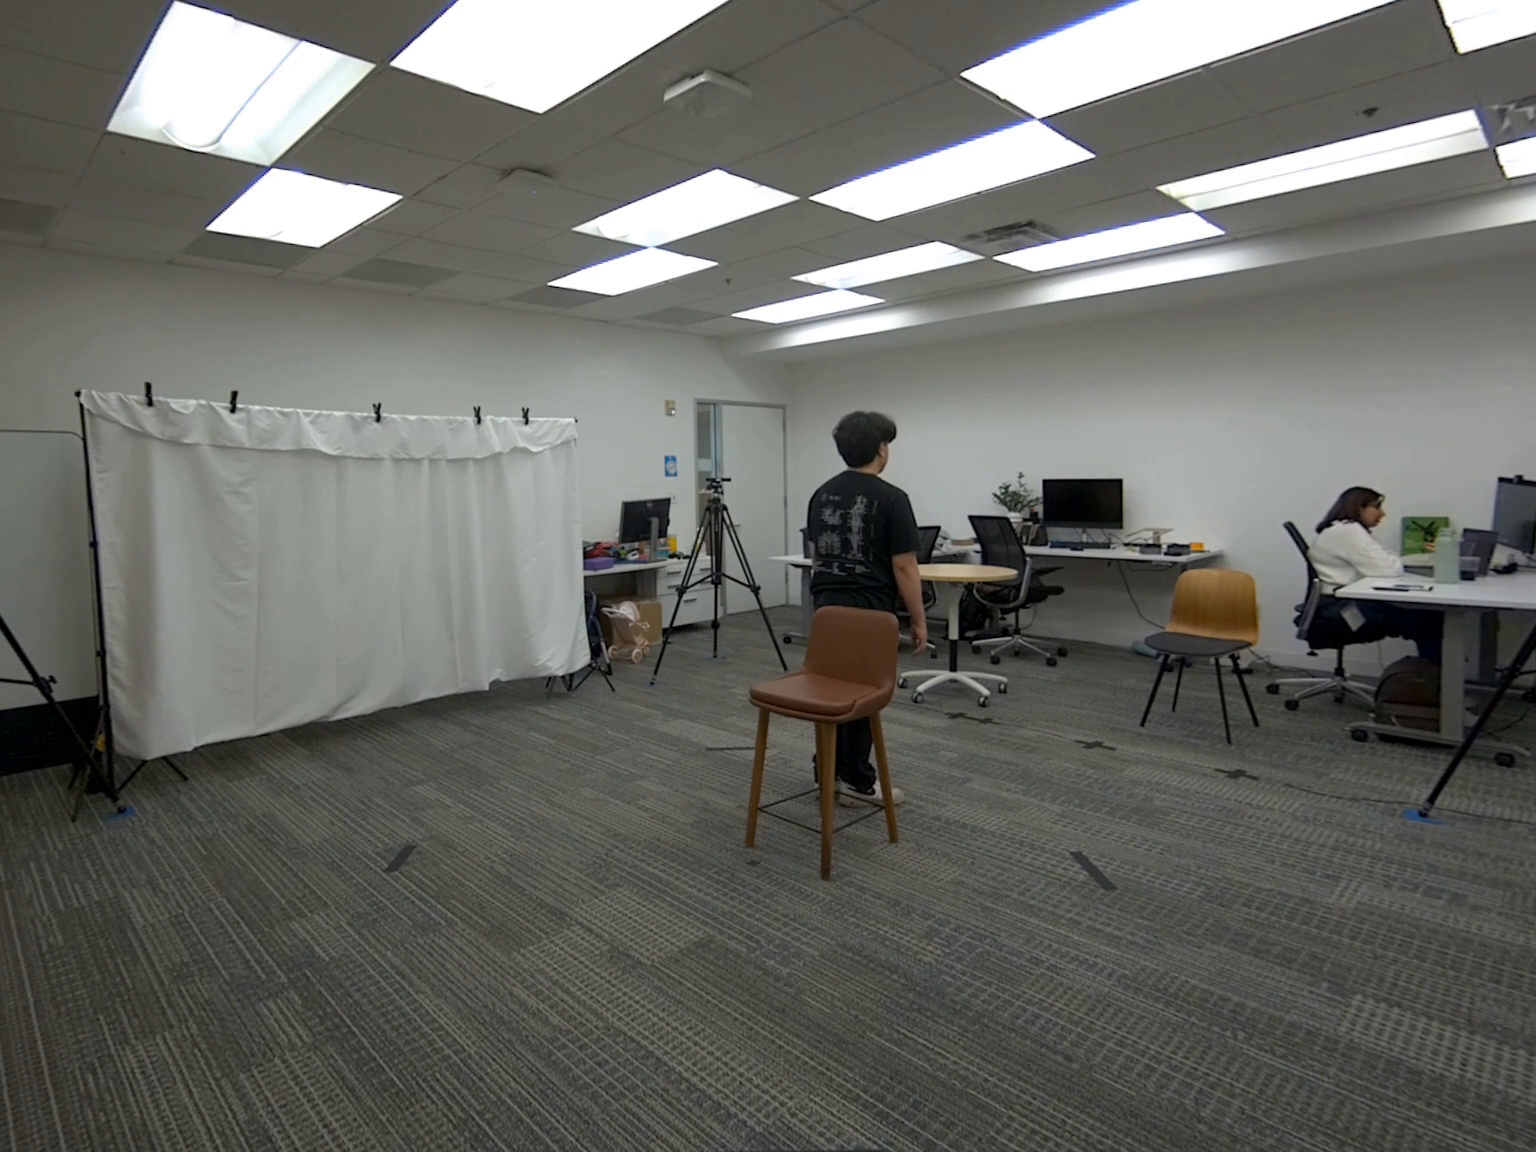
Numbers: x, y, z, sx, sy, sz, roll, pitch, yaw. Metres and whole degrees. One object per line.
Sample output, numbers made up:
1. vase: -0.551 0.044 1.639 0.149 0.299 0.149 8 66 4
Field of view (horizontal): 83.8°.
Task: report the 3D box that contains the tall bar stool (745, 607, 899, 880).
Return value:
1. tall bar stool: 0.213 0.585 3.231 0.454 0.888 0.470 -1 3 -44
